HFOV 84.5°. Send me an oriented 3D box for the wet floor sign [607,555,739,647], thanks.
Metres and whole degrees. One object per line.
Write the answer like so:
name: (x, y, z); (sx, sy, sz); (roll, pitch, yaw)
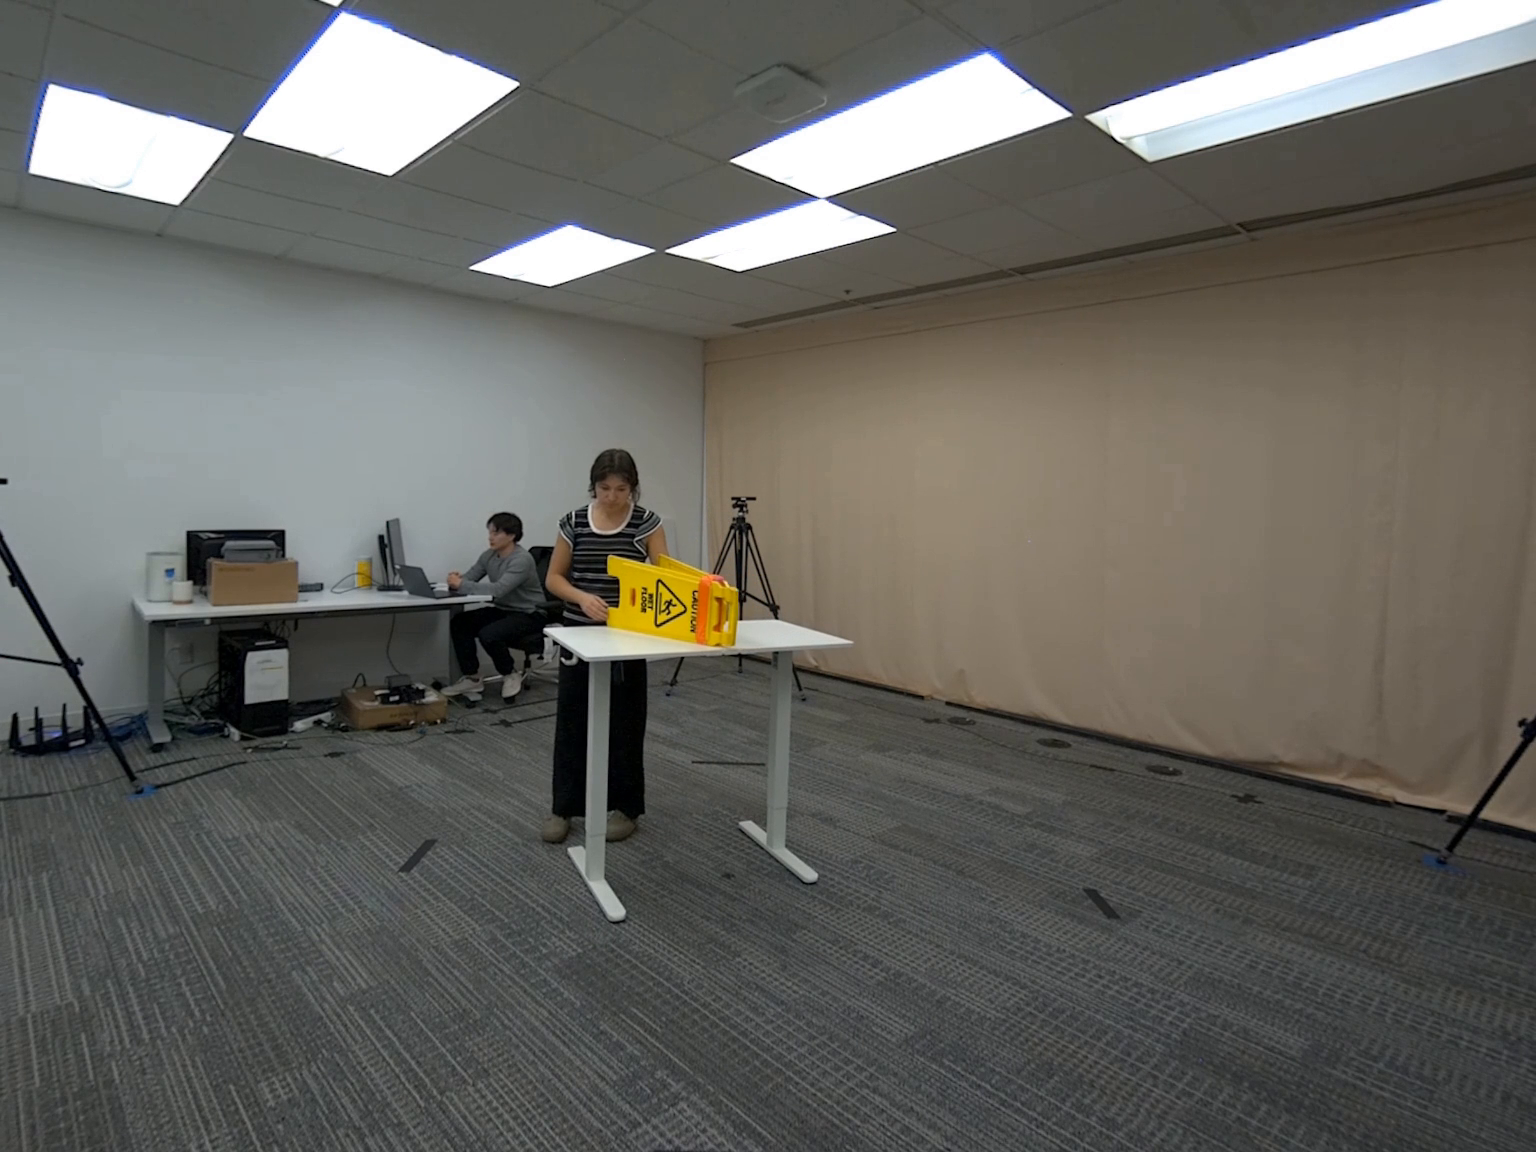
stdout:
wet floor sign: (-0.322, 0.101, 3.073); (0.283, 0.281, 0.664); (-3, 10, -40)
